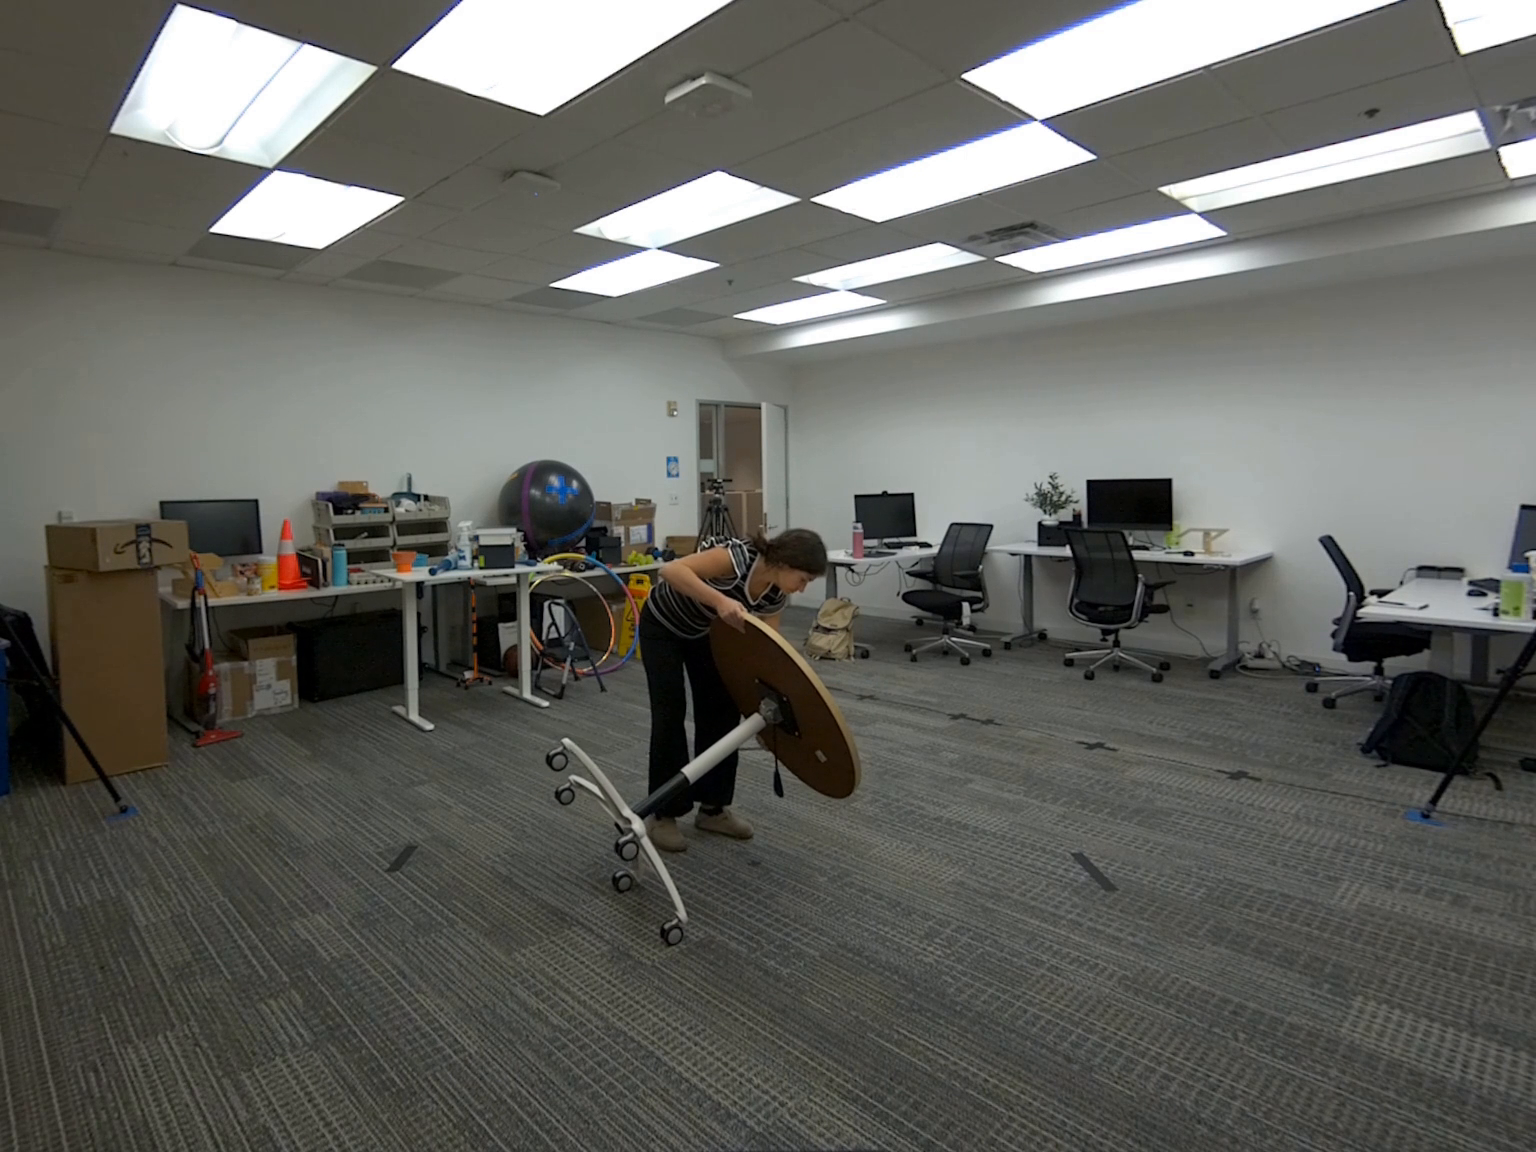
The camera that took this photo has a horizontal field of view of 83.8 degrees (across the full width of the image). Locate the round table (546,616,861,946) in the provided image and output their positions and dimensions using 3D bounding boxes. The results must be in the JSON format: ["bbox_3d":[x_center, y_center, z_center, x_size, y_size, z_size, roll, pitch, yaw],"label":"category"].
[{"bbox_3d":[-0.241,0.645,2.847,0.788,0.749,0.785,-33,19,-24],"label":"round table"}]
